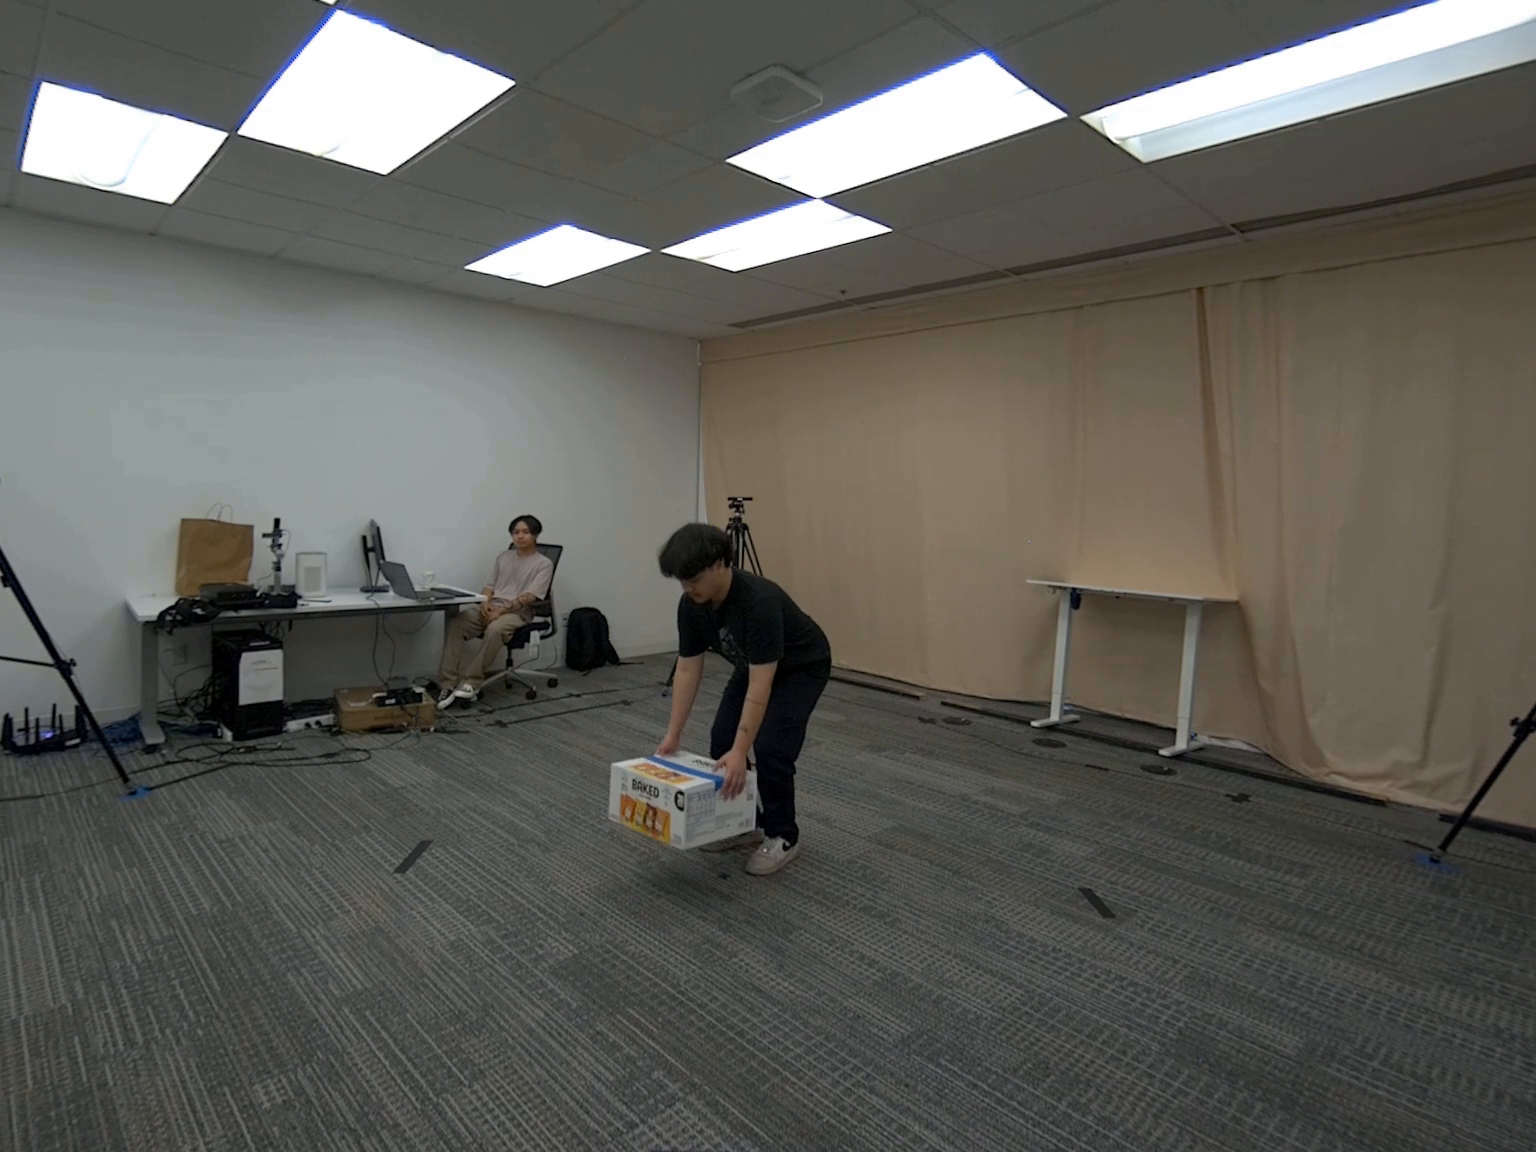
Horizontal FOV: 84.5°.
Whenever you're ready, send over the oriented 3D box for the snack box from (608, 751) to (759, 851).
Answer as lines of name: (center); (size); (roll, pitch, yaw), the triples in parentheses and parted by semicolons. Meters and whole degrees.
snack box: (-0.311, 0.785, 2.992); (0.415, 0.206, 0.332); (3, 1, 44)
